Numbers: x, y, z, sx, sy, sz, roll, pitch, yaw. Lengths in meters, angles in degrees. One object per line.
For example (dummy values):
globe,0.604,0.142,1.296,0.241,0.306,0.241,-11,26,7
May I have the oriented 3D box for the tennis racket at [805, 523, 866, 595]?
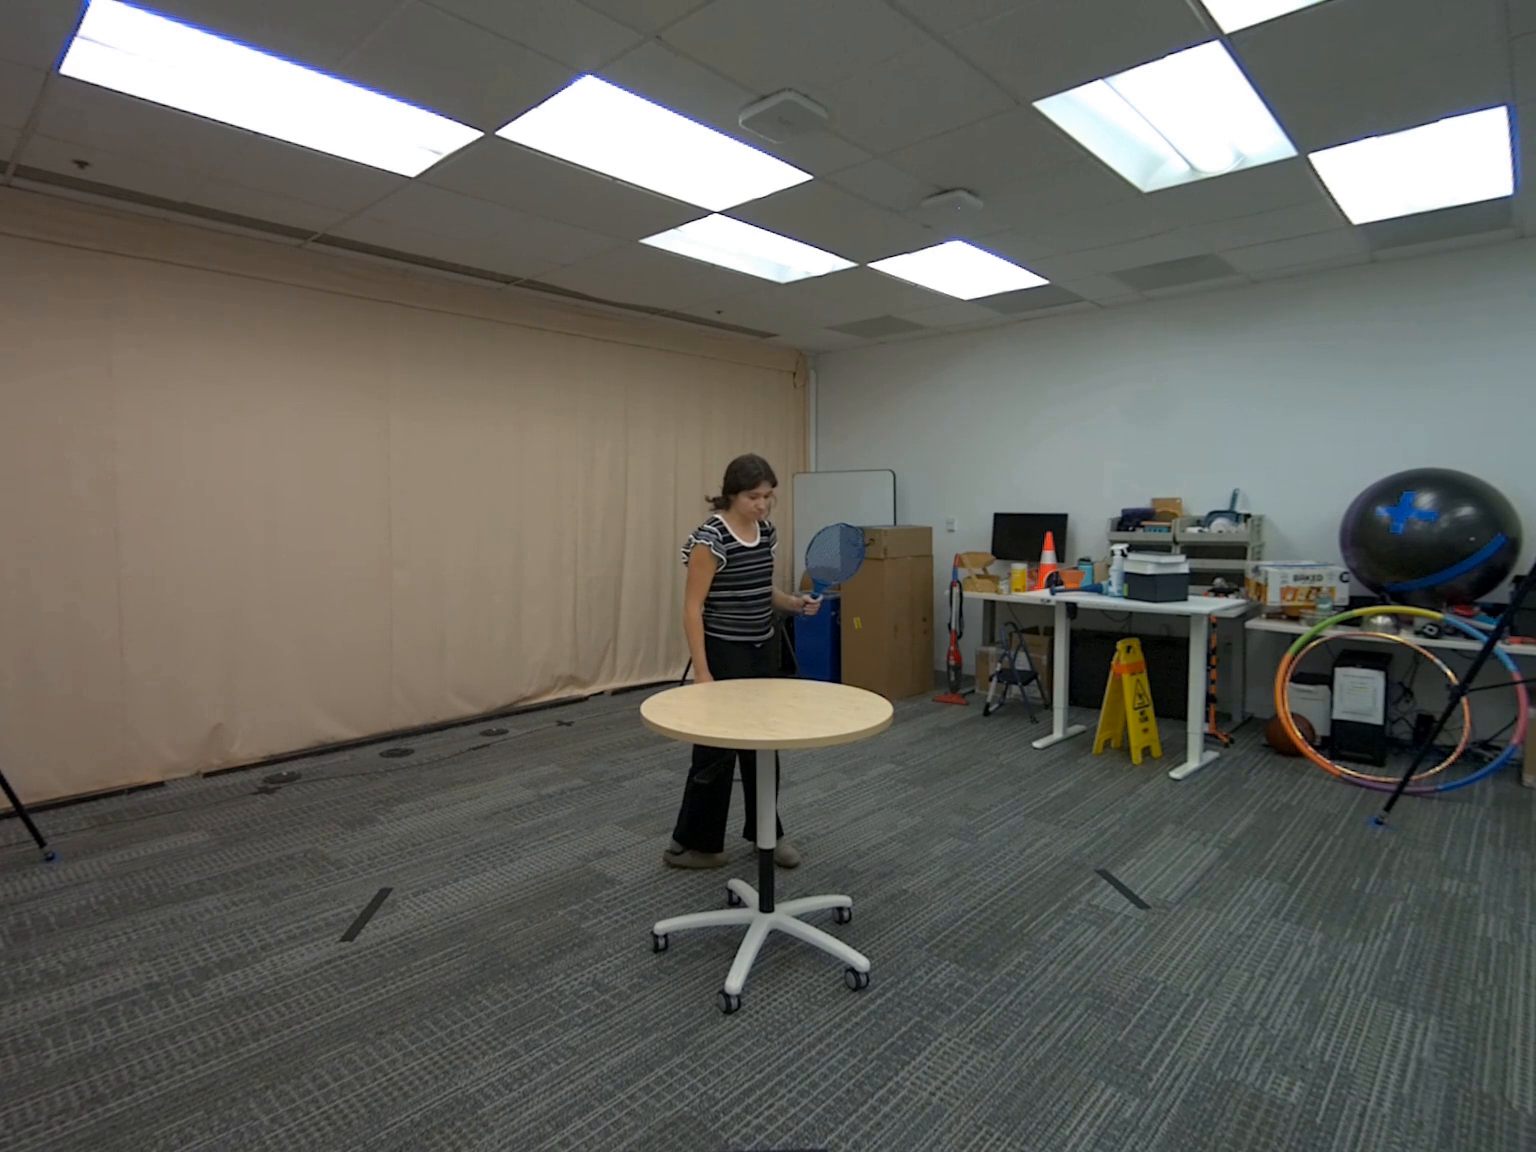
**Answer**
tennis racket,0.195,-0.012,3.151,0.213,0.434,0.032,34,23,-4
